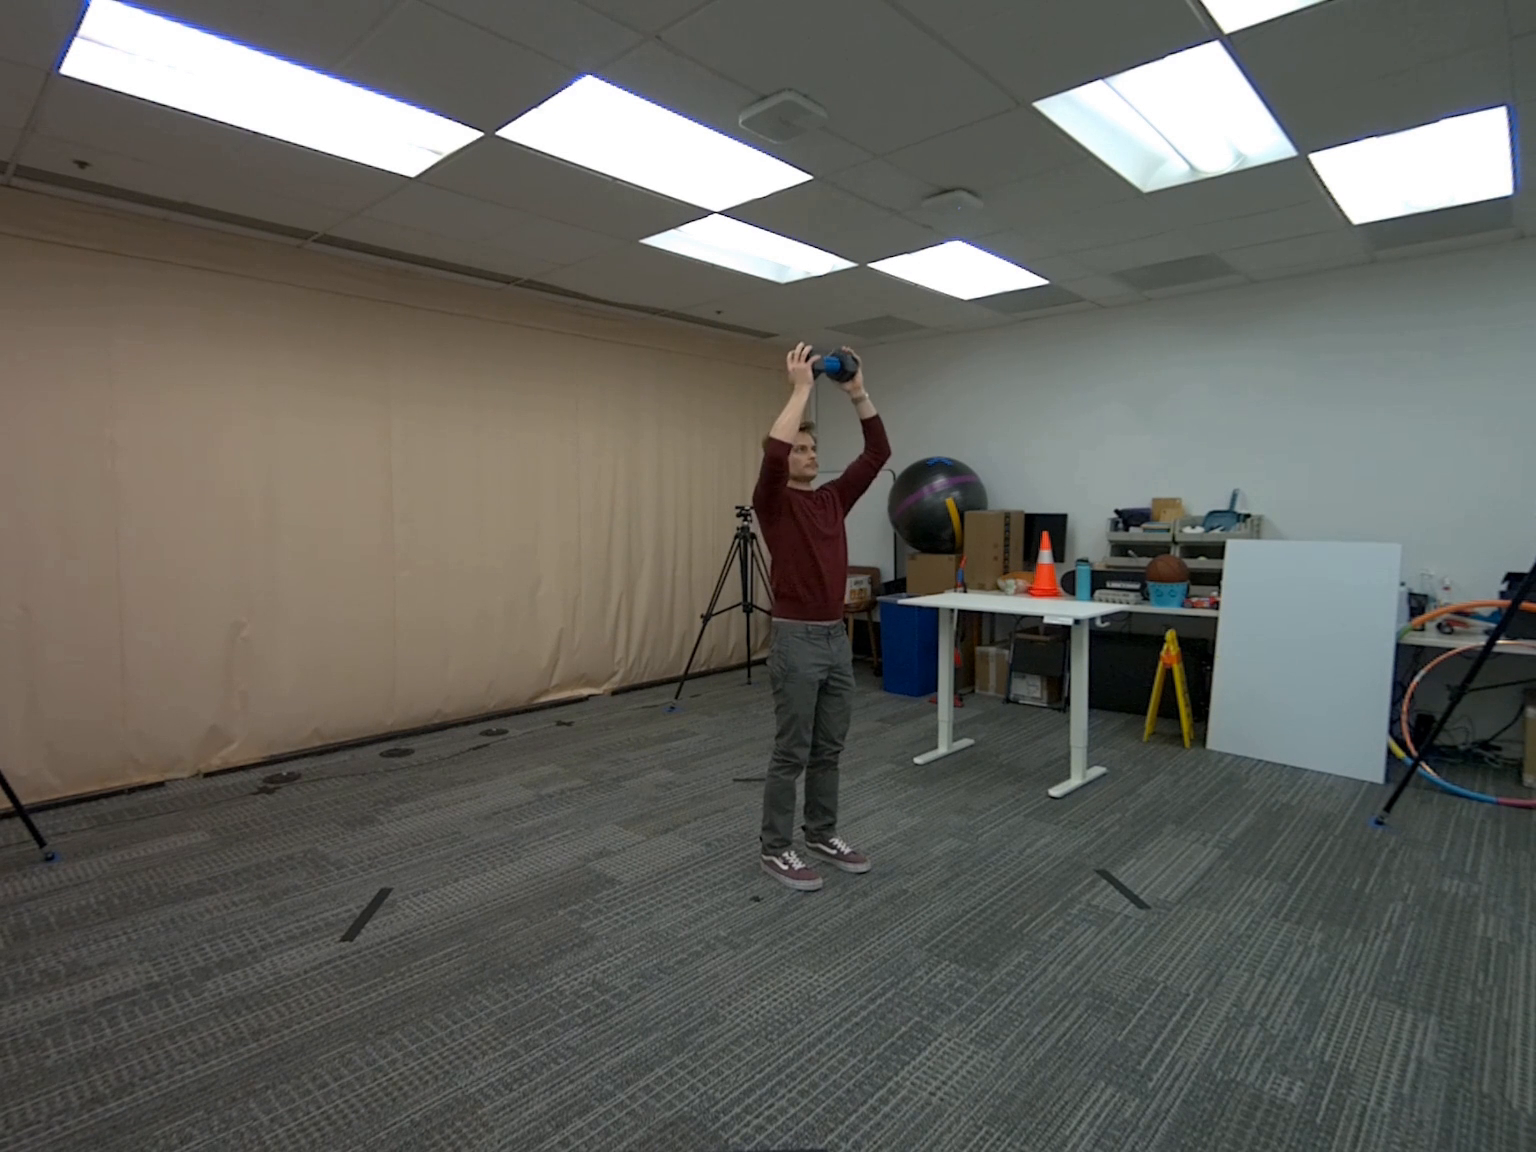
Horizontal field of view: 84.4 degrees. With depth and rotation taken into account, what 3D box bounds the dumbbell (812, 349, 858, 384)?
[{"bbox_3d":[0.210,-0.762,3.082,0.112,0.123,0.285,-9,3,43],"label":"dumbbell"}]
